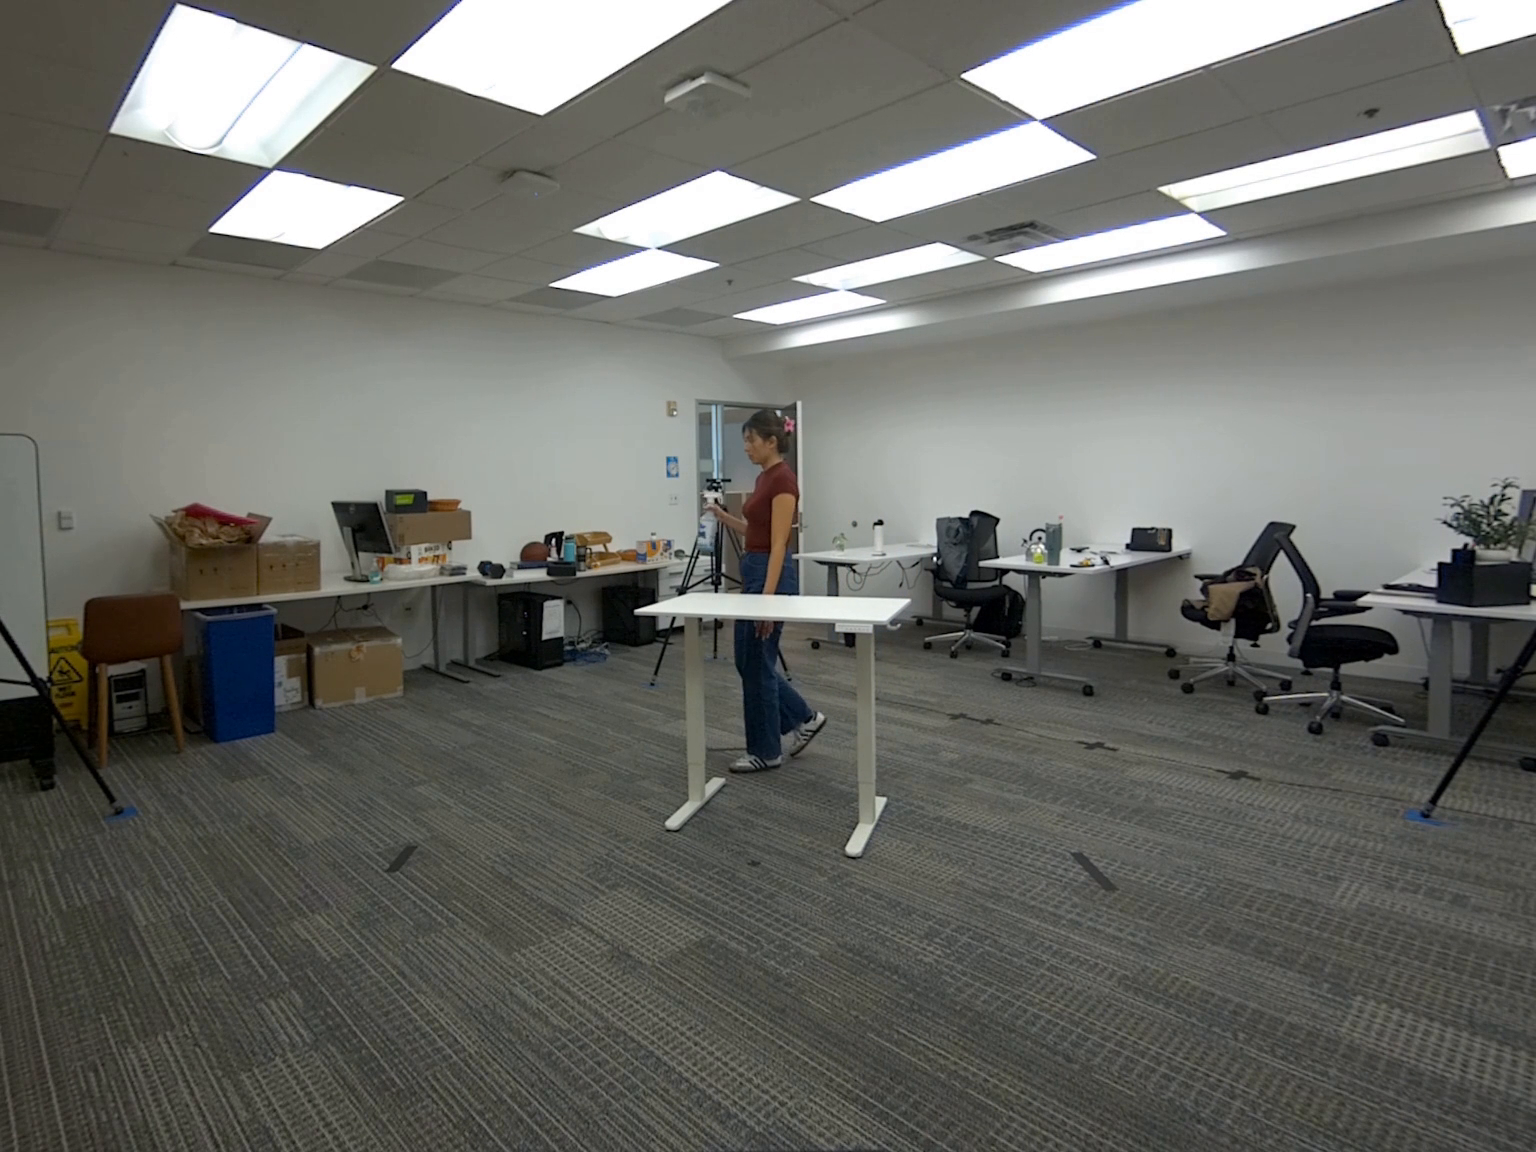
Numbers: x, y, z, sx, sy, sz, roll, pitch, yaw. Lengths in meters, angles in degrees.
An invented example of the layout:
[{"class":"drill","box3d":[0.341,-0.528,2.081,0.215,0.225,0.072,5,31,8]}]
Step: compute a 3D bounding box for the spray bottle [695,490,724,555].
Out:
[{"class":"spray bottle","box3d":[-0.294,-0.273,4.281,0.091,0.297,0.086,7,0,12]}]
